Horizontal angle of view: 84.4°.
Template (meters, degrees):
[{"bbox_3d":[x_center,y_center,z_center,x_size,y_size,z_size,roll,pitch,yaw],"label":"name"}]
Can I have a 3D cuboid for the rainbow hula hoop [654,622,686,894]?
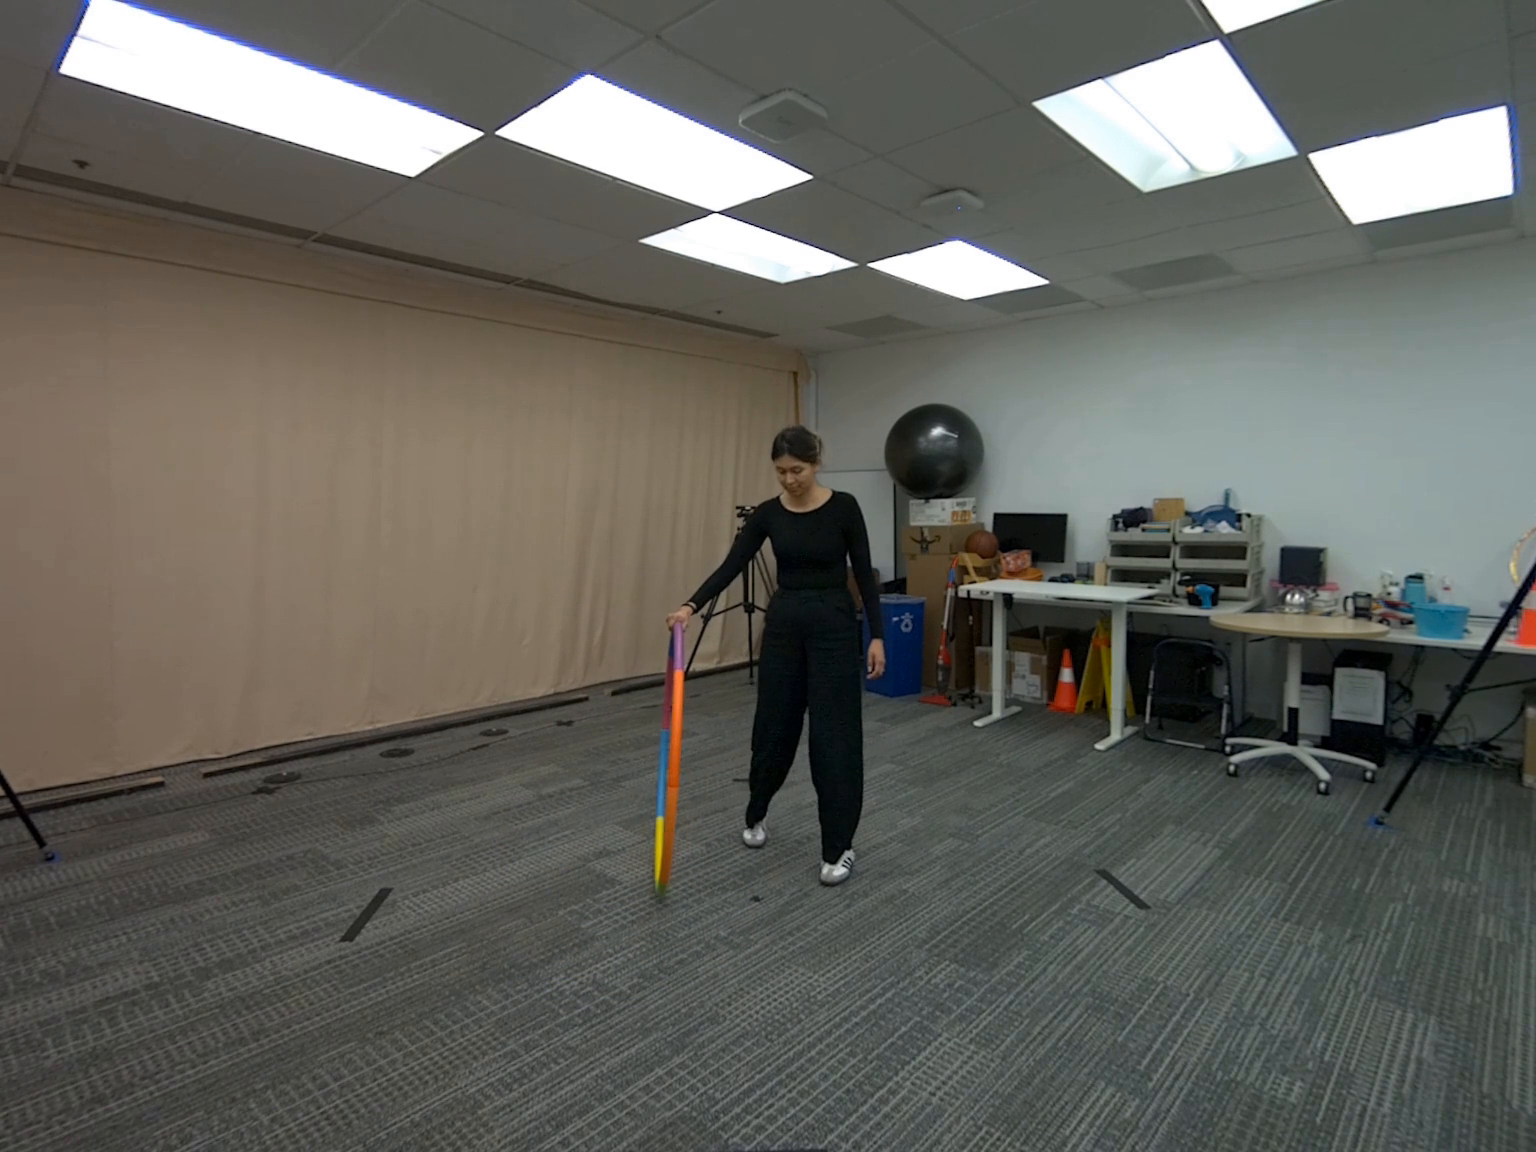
[{"bbox_3d":[-0.354,0.650,3.095,0.035,0.977,0.987,6,3,-8],"label":"rainbow hula hoop"}]
